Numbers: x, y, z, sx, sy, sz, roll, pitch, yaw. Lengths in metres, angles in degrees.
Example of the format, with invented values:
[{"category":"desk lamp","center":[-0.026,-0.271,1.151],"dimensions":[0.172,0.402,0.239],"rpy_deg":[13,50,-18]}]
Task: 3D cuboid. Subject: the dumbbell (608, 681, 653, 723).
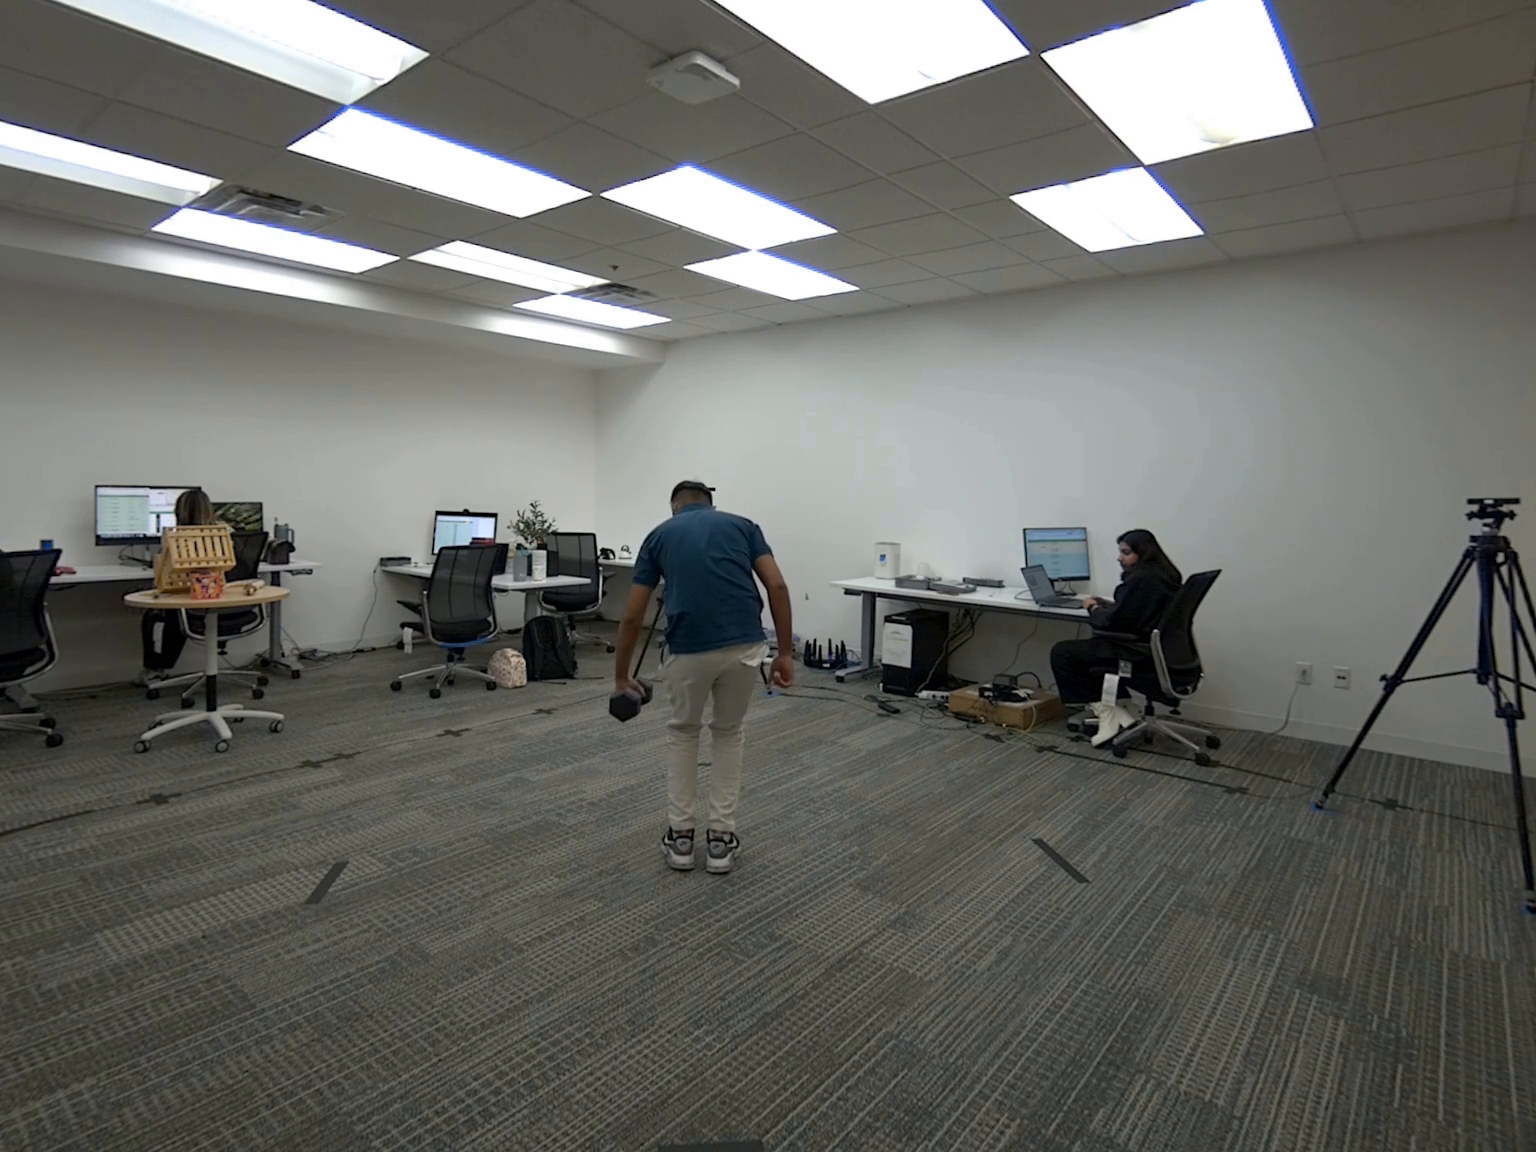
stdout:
[{"category":"dumbbell","center":[-0.535,0.472,3.283],"dimensions":[0.109,0.123,0.292],"rpy_deg":[4,3,5]}]
